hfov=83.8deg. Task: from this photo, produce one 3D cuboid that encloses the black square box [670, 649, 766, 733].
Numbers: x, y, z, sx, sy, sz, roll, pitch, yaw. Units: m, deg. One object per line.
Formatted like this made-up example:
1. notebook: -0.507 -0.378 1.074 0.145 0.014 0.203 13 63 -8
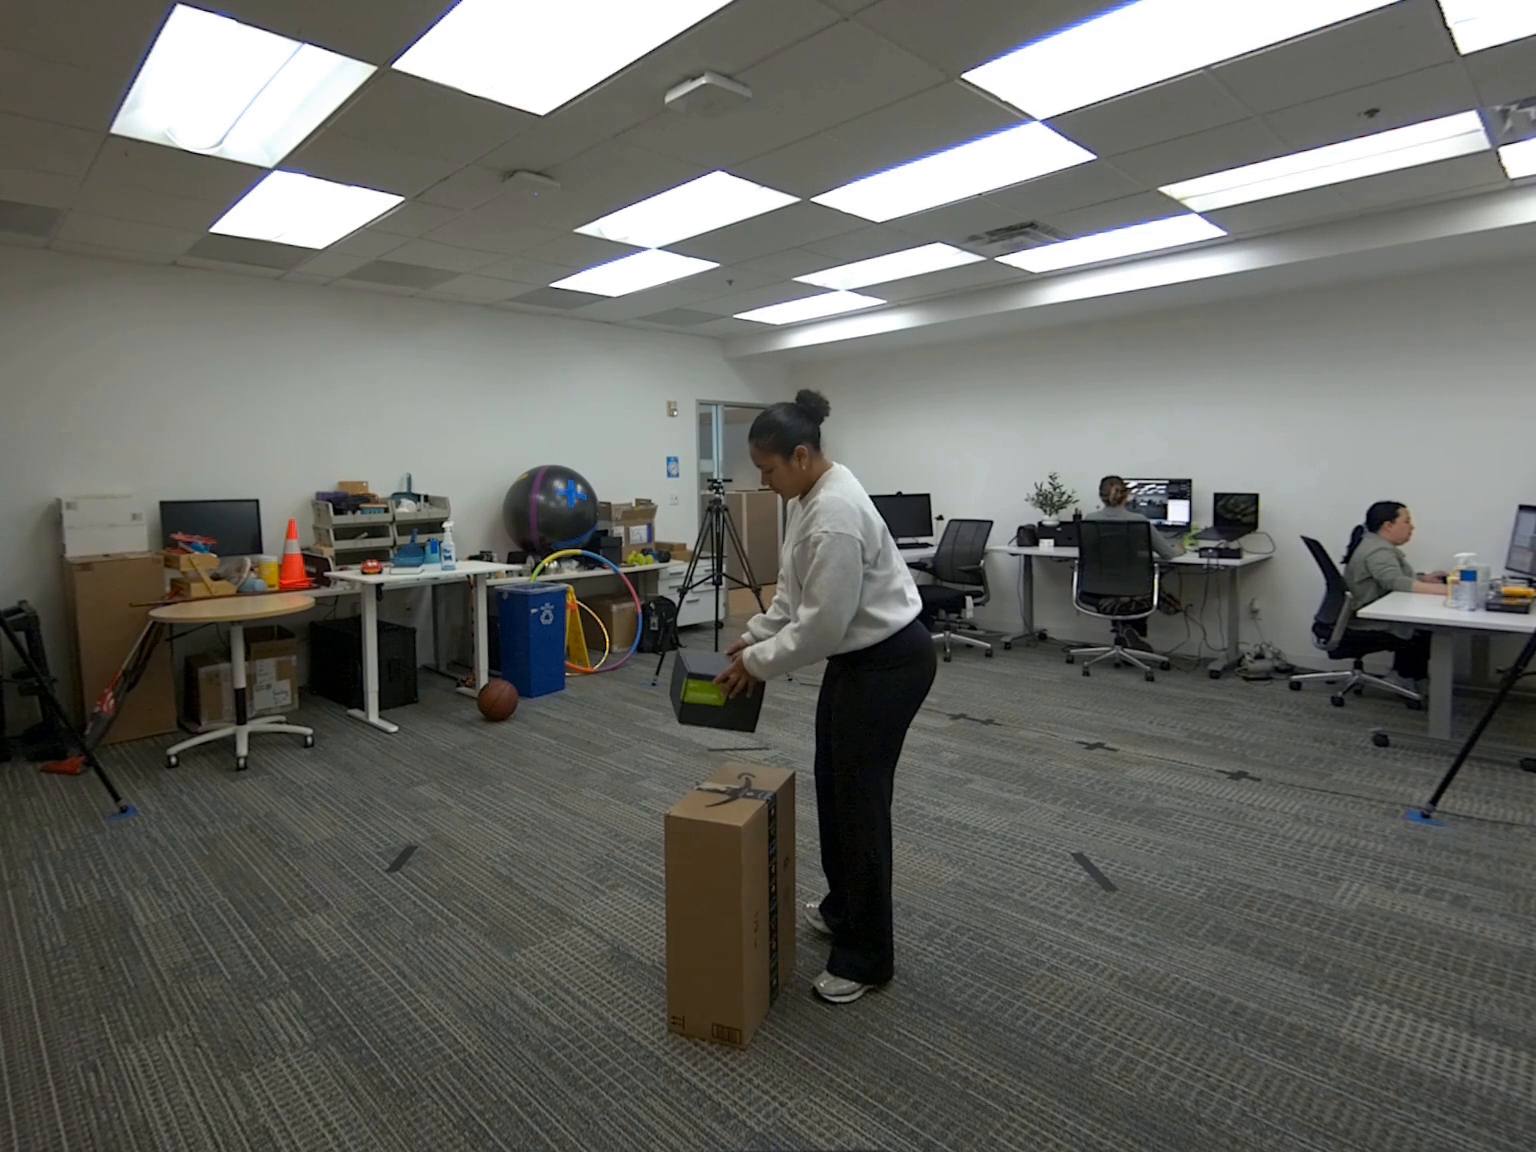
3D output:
1. black square box: -0.140 0.330 2.466 0.224 0.155 0.222 9 12 -15
